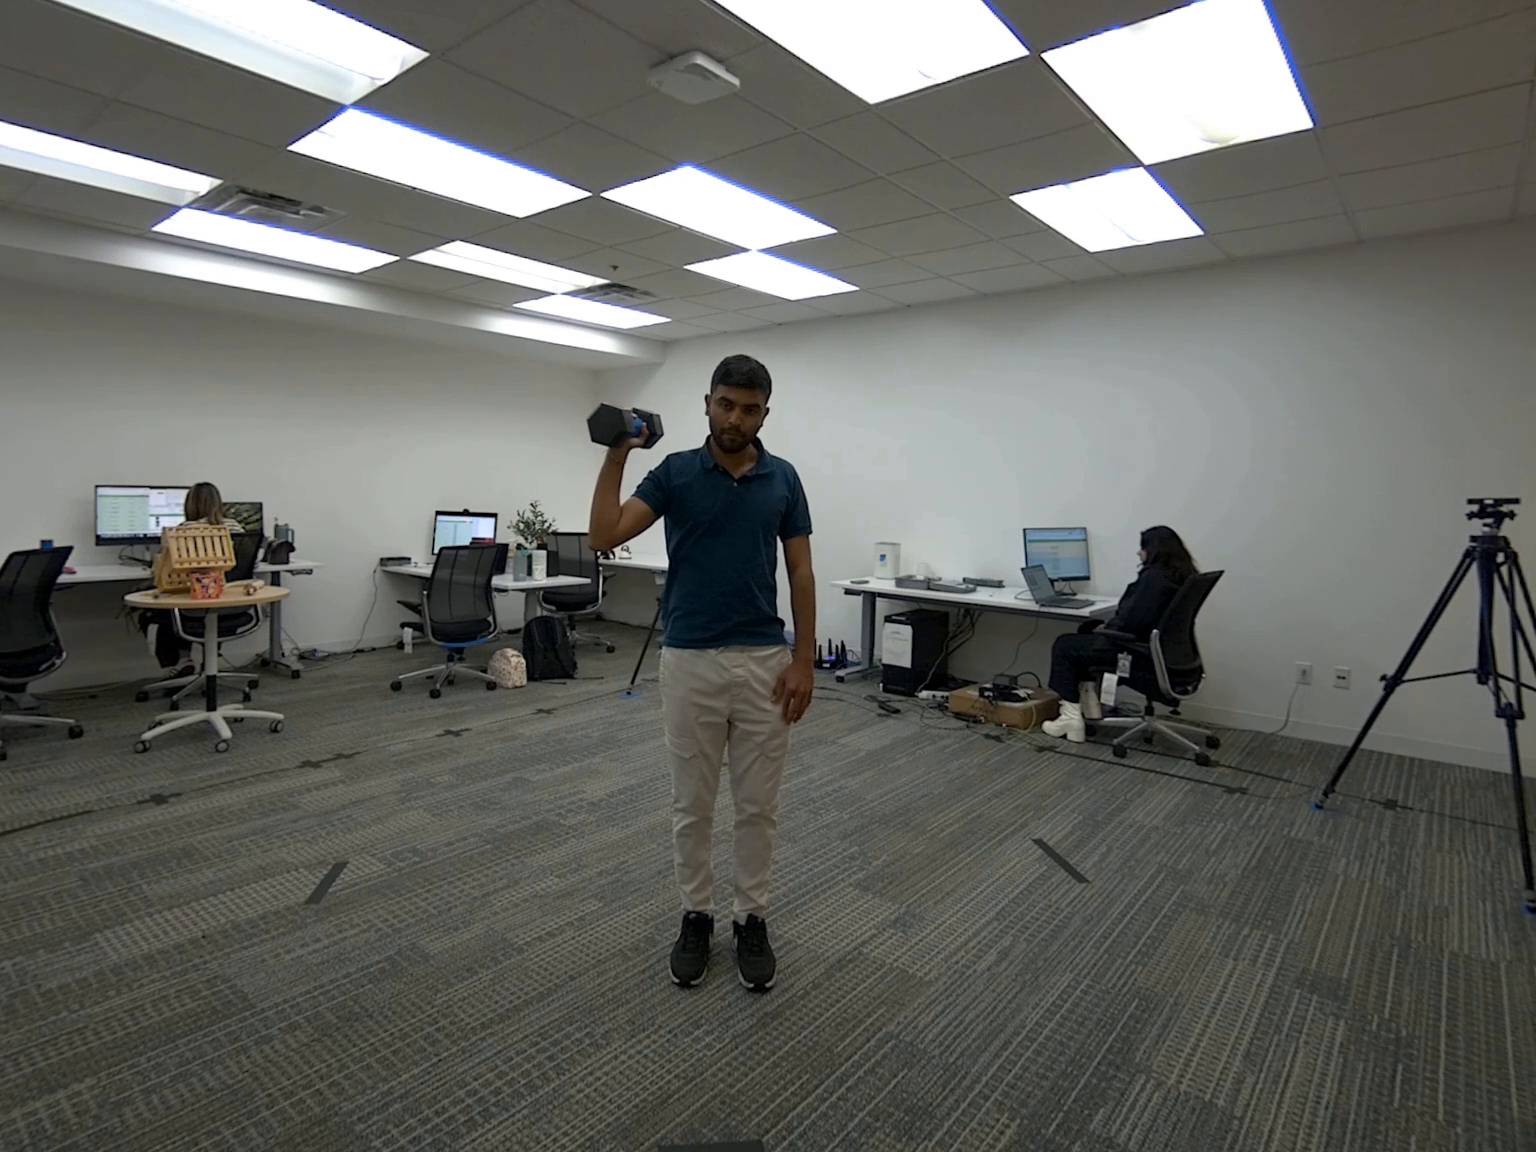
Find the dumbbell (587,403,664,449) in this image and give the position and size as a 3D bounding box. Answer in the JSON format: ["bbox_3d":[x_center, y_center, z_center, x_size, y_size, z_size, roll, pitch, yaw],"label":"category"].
[{"bbox_3d":[-0.401,-0.420,2.371,0.125,0.108,0.290,17,10,11],"label":"dumbbell"}]
